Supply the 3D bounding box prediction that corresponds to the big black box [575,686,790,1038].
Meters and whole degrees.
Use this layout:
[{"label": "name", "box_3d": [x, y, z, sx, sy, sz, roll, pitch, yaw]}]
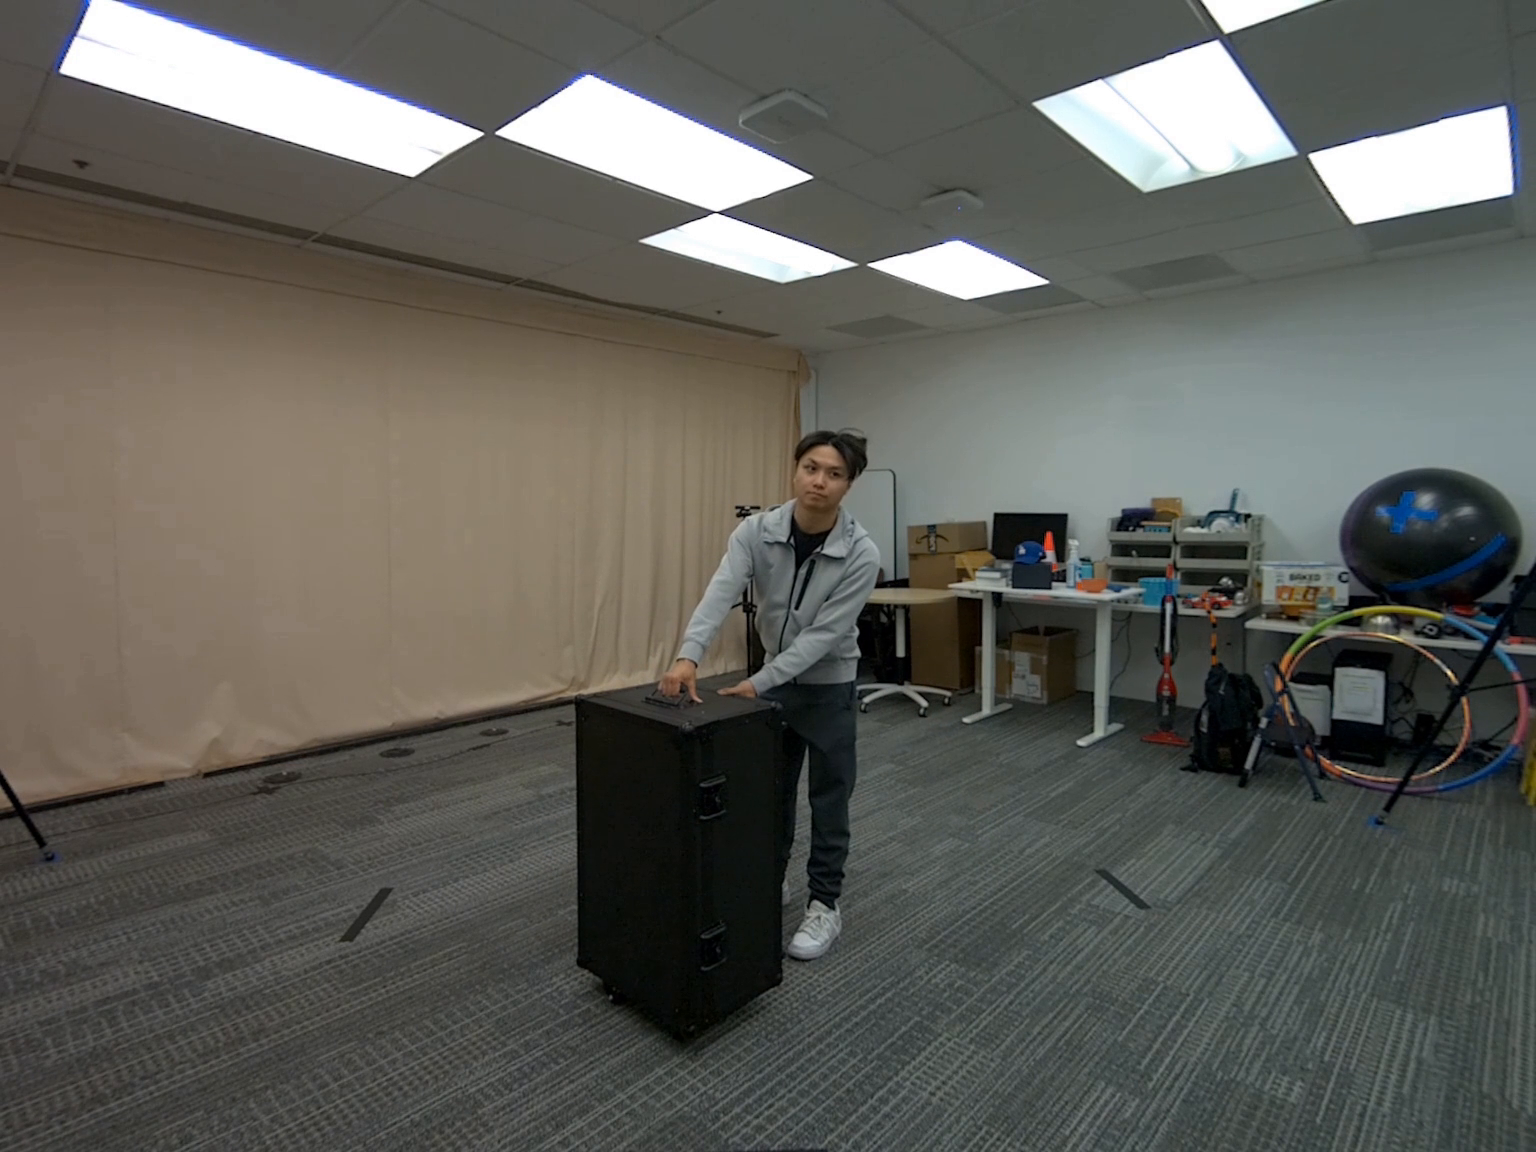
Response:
[{"label": "big black box", "box_3d": [-0.252, 0.774, 2.374, 0.538, 0.860, 0.384, 3, 3, 44]}]
